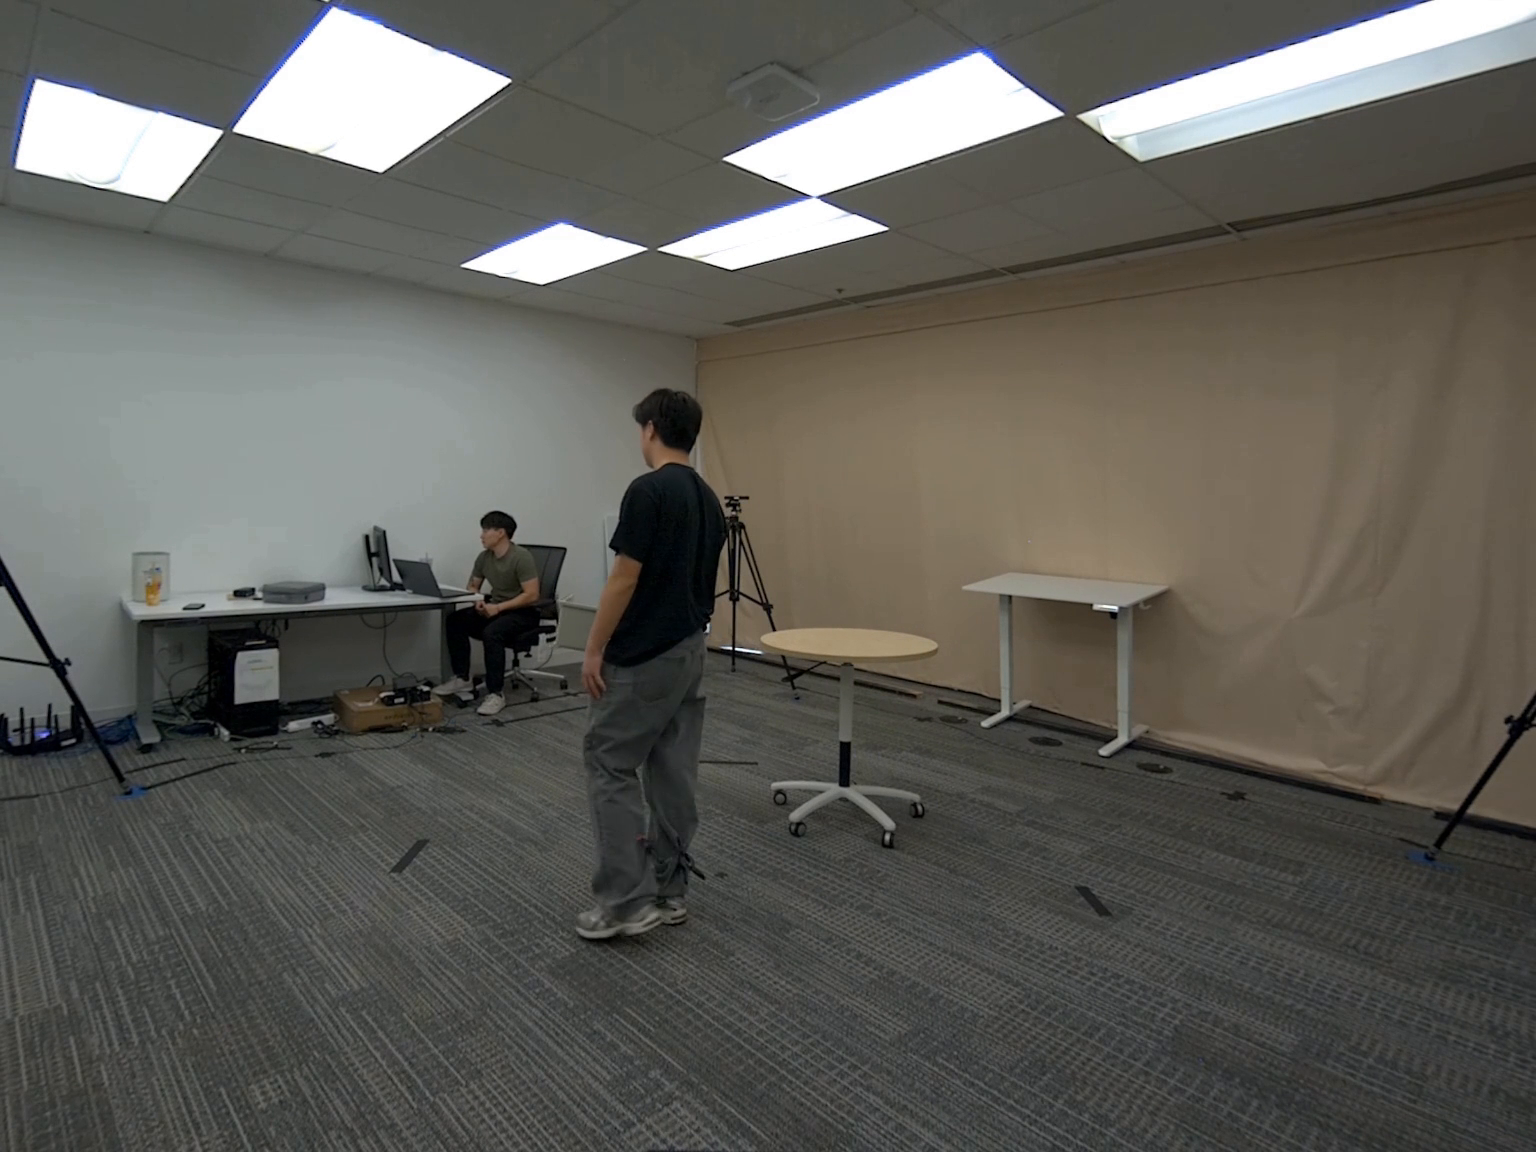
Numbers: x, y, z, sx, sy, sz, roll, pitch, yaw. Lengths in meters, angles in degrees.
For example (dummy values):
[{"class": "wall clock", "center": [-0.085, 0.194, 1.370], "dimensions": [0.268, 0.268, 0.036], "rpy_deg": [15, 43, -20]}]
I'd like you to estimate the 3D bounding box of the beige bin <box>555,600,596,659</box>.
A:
[{"class": "beige bin", "center": [-0.613, 0.204, 3.331], "dimensions": [0.420, 0.188, 0.380], "rpy_deg": [10, 4, -5]}]
